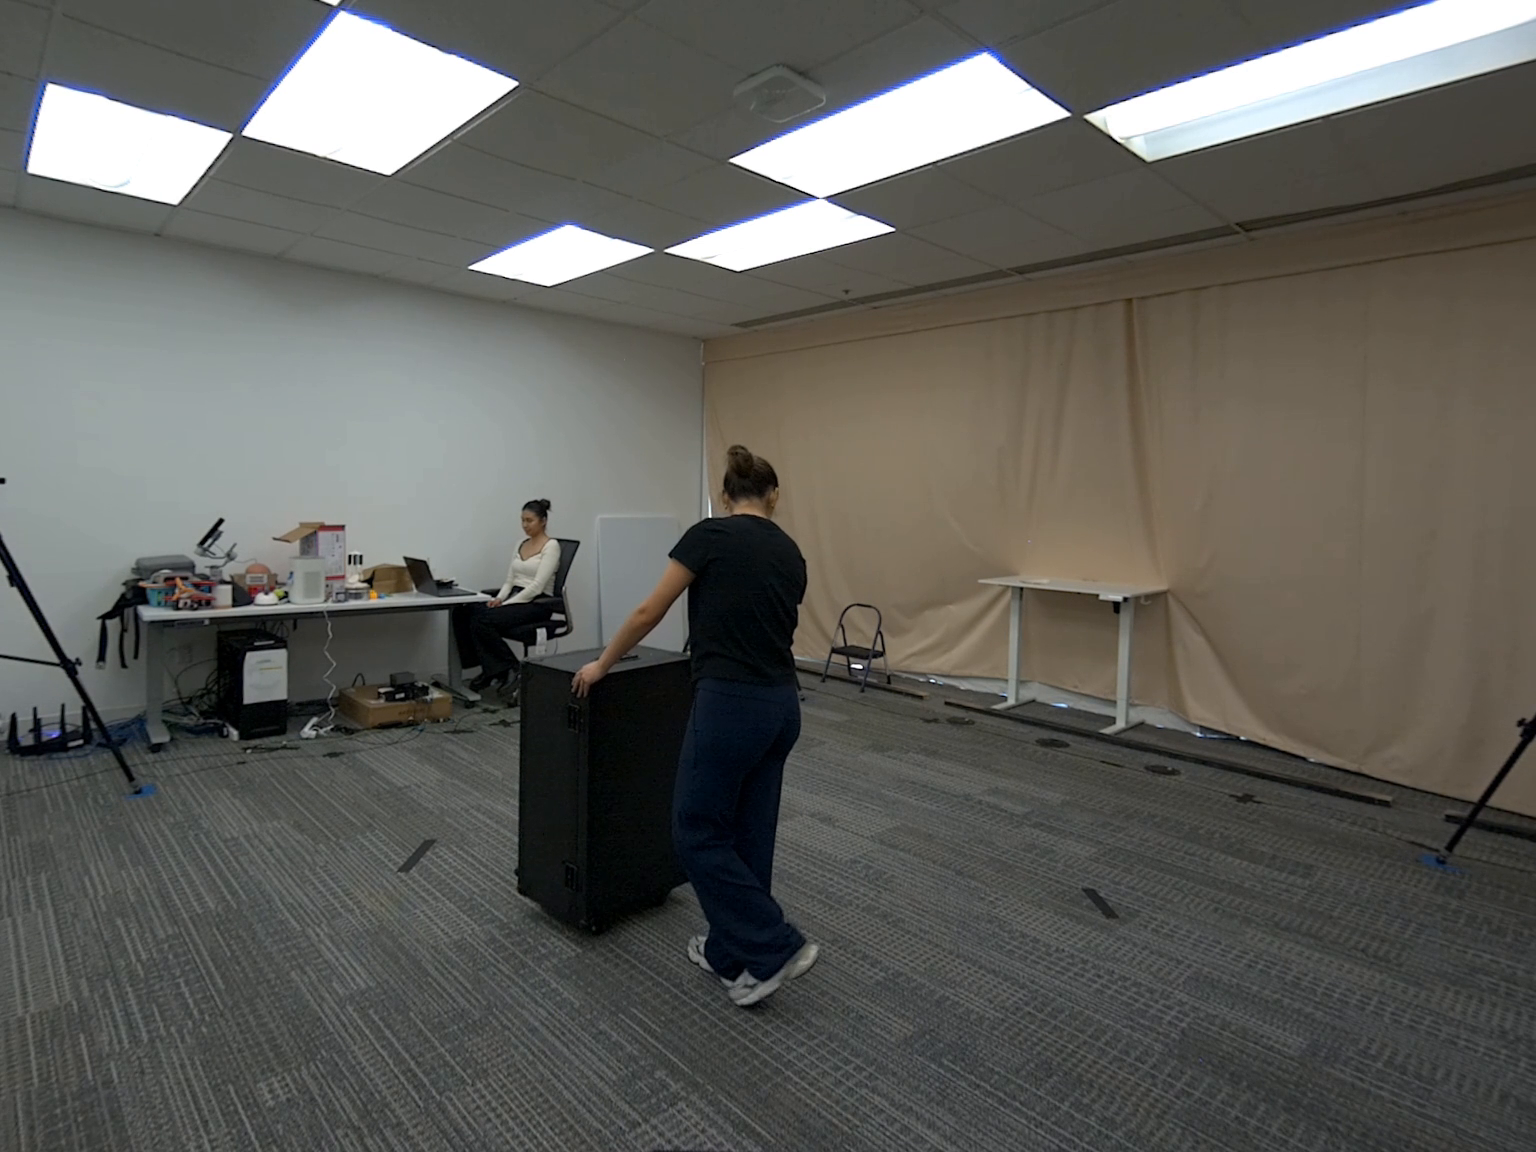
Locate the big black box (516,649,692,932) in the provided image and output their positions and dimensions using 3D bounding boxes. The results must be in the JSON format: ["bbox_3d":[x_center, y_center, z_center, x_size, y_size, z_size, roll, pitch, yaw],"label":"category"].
[{"bbox_3d":[-0.548,0.699,2.820,0.406,0.859,0.509,4,4,40],"label":"big black box"}]
